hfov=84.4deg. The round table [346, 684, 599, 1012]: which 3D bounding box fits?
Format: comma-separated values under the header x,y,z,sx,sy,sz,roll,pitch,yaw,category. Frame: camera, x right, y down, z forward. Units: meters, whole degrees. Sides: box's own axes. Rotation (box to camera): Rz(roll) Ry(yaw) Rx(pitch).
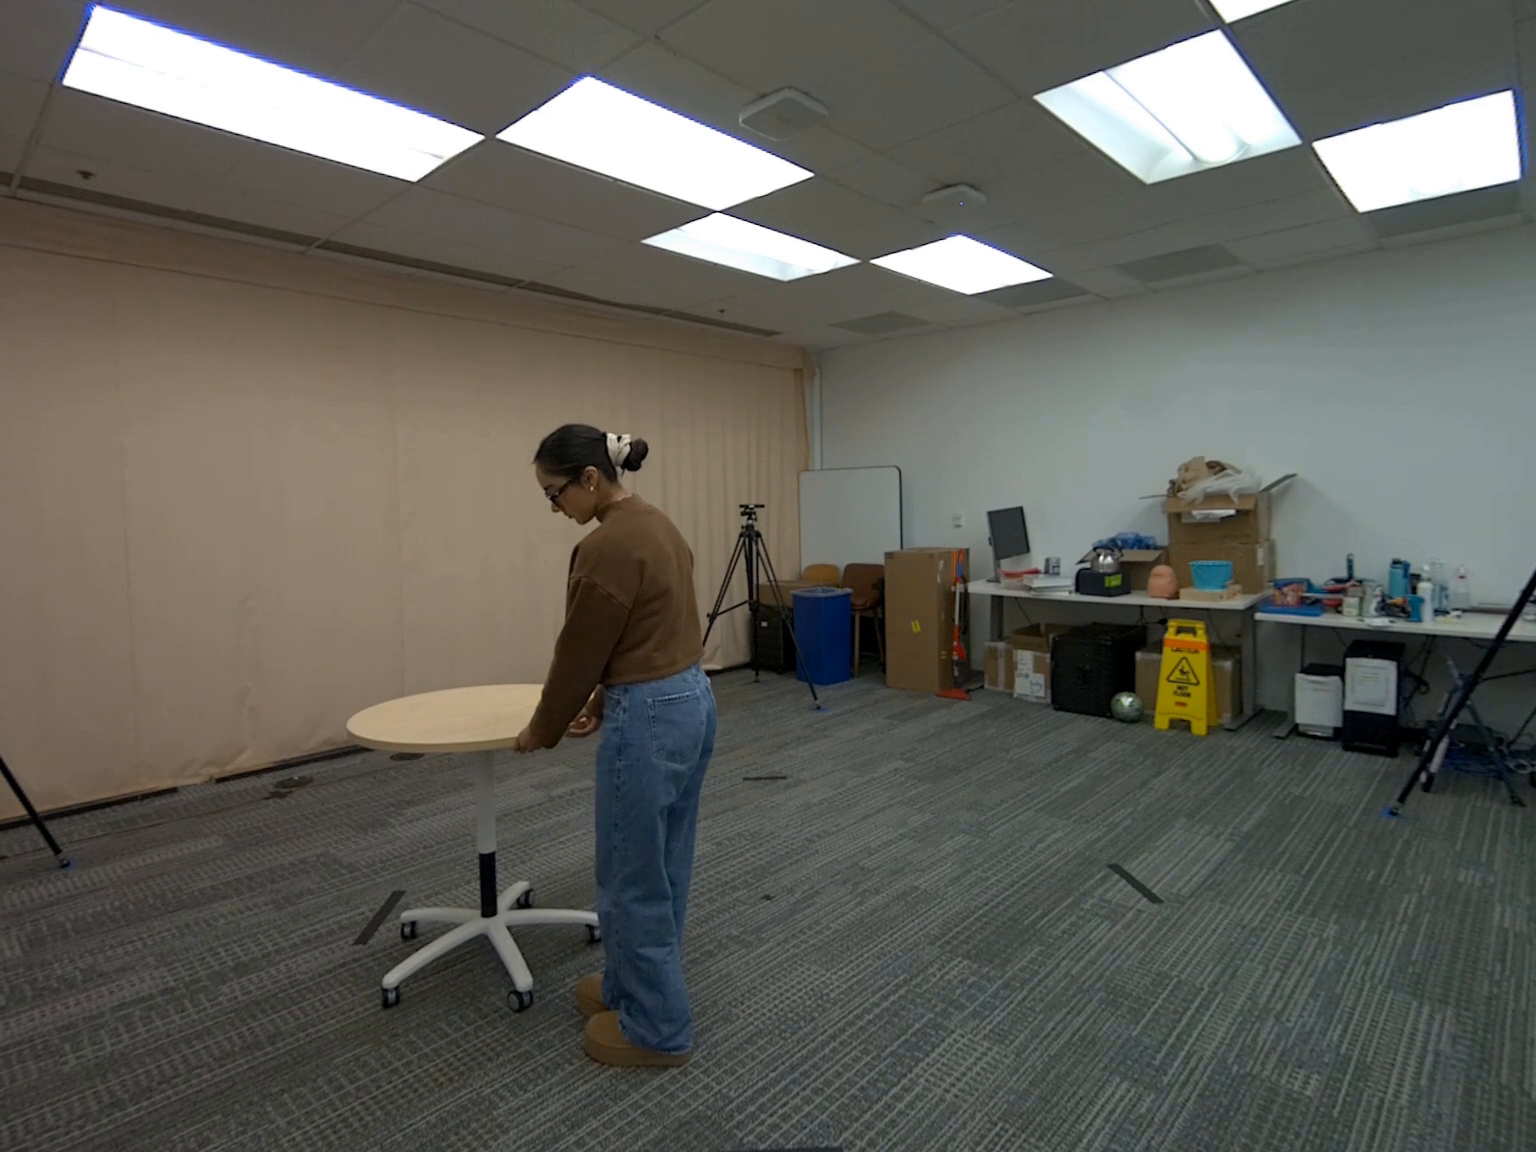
x,y,z,sx,sy,sz,roll,pitch,yaw,category
-0.866,0.805,2.600,0.763,0.792,0.766,-2,3,-2,round table
